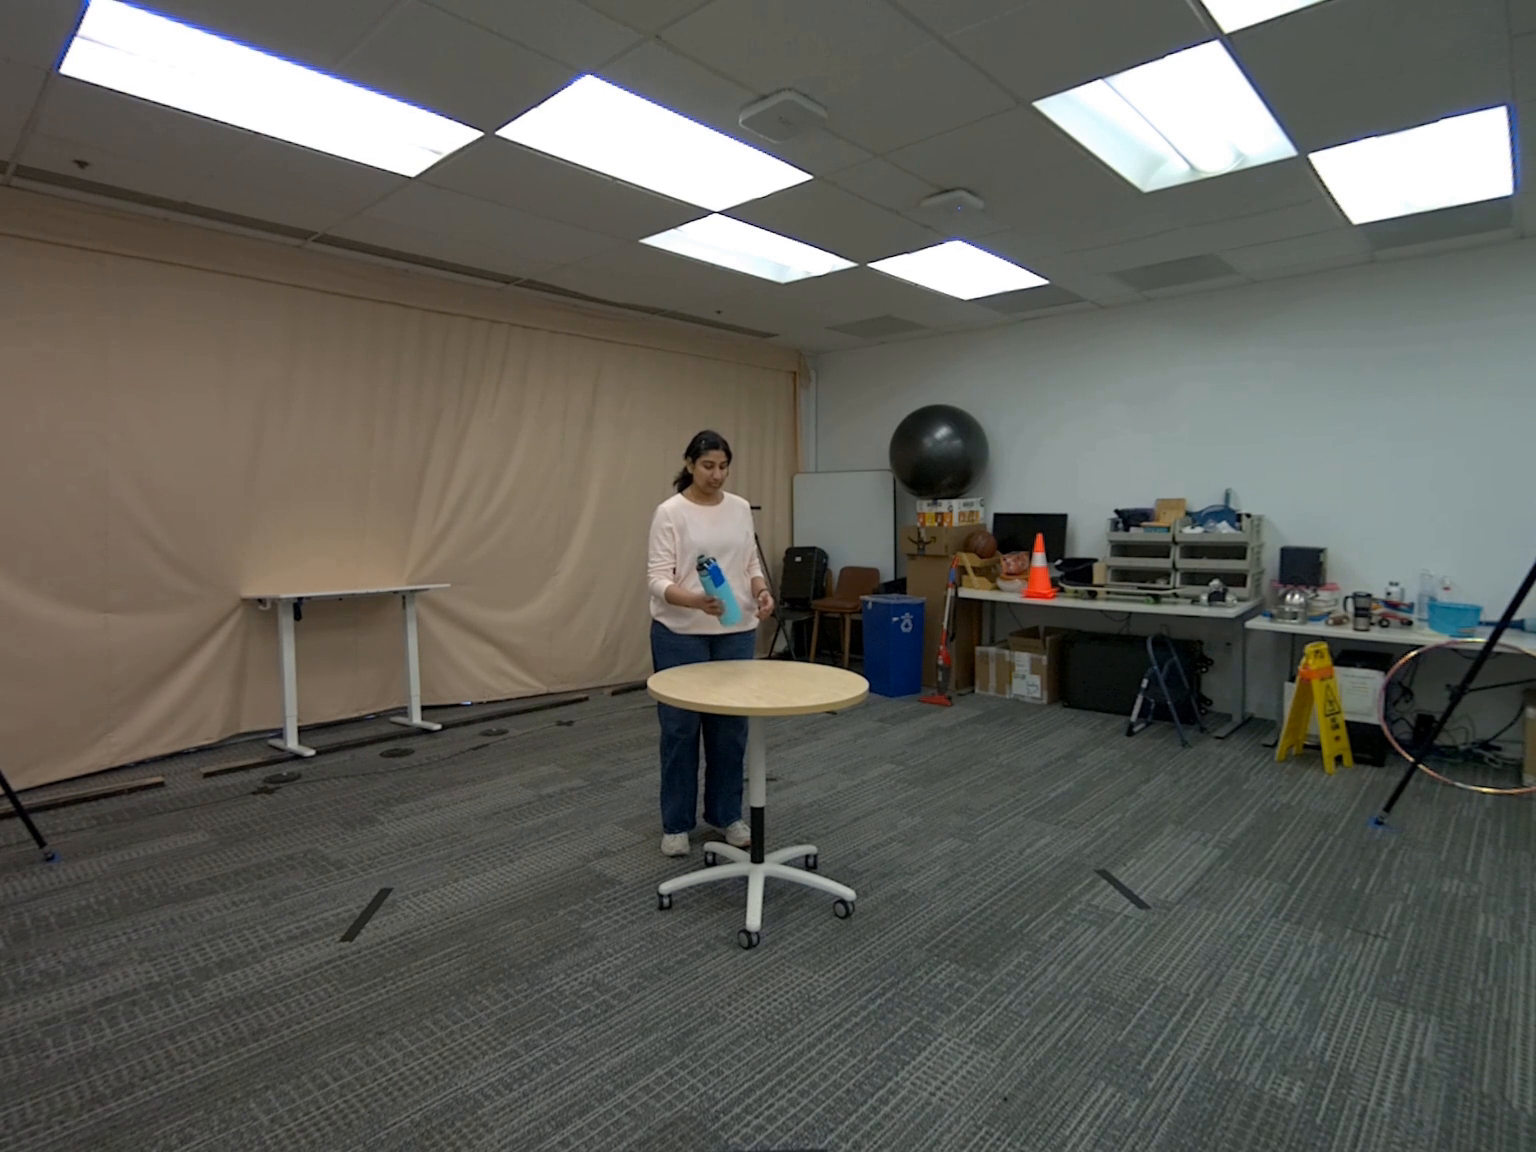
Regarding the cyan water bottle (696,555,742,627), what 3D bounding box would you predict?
[{"bbox_3d":[-0.182,0.049,3.032,0.093,0.276,0.094,-17,31,9],"label":"cyan water bottle"}]
